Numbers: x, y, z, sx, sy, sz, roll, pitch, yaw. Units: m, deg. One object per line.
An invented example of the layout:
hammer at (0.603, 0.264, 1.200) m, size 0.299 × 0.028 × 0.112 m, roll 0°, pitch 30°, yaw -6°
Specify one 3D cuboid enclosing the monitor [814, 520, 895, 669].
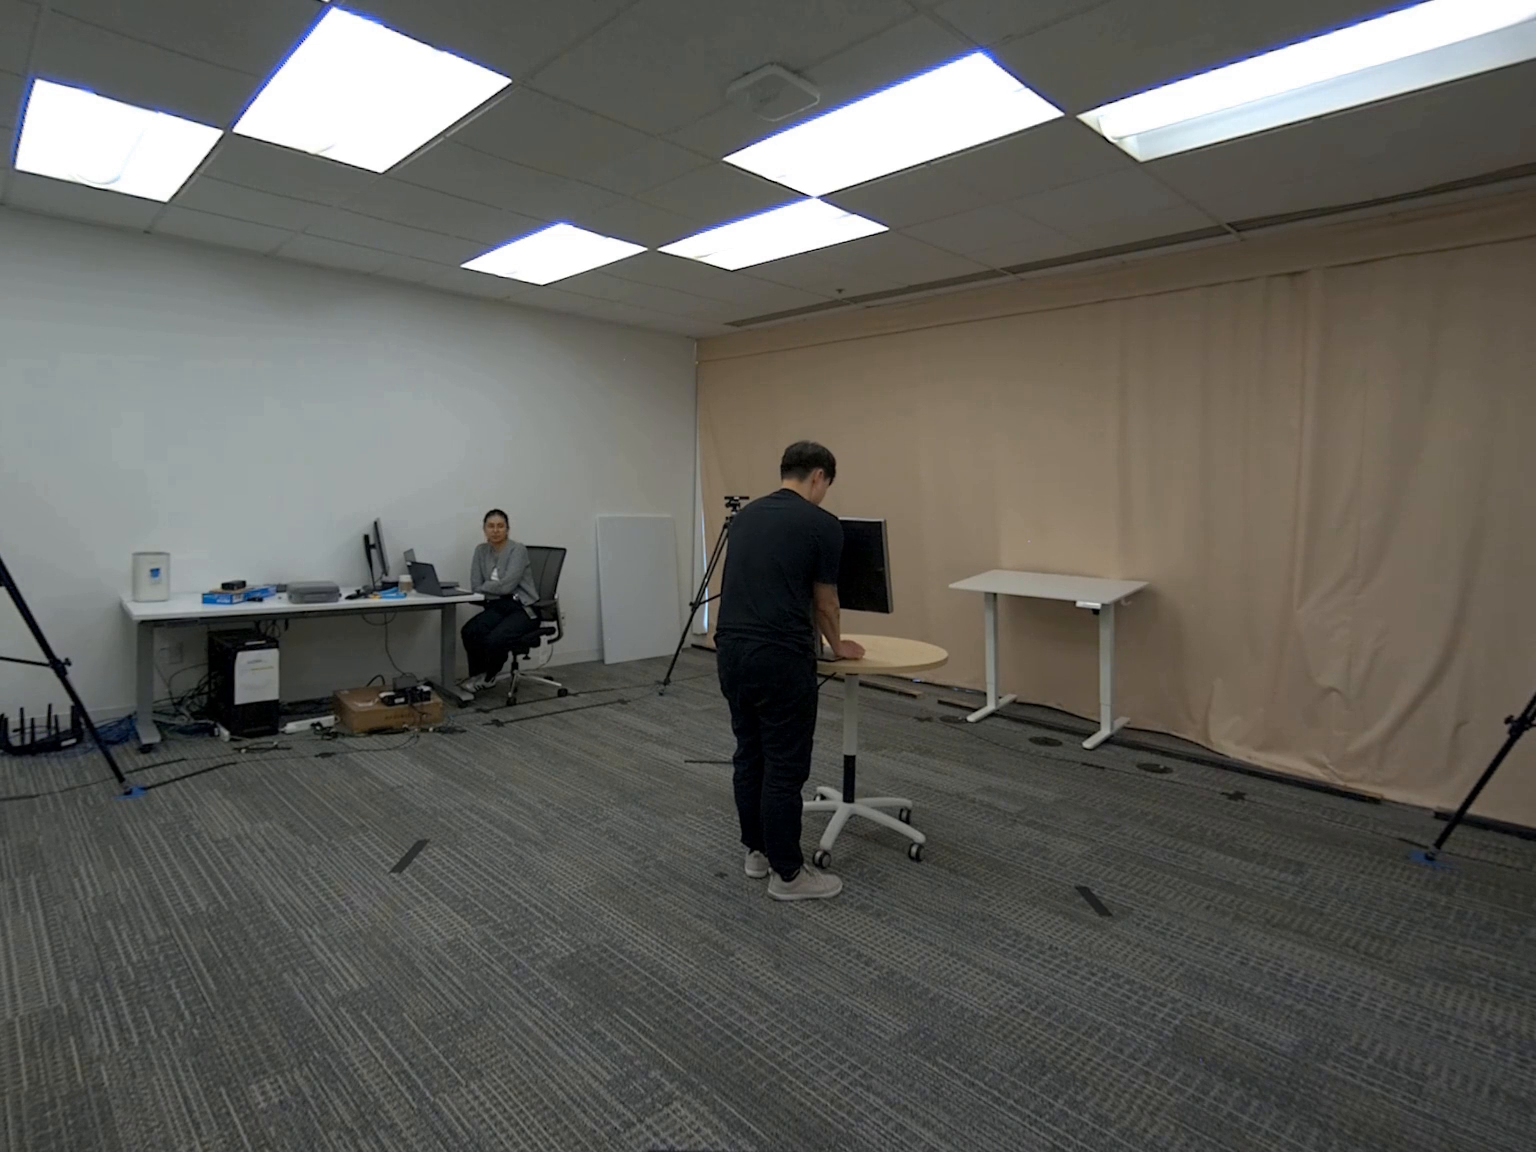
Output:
monitor at (0.200, 0.043, 3.292) m, size 0.552 × 0.521 × 0.183 m, roll 5°, pitch 6°, yaw 39°
